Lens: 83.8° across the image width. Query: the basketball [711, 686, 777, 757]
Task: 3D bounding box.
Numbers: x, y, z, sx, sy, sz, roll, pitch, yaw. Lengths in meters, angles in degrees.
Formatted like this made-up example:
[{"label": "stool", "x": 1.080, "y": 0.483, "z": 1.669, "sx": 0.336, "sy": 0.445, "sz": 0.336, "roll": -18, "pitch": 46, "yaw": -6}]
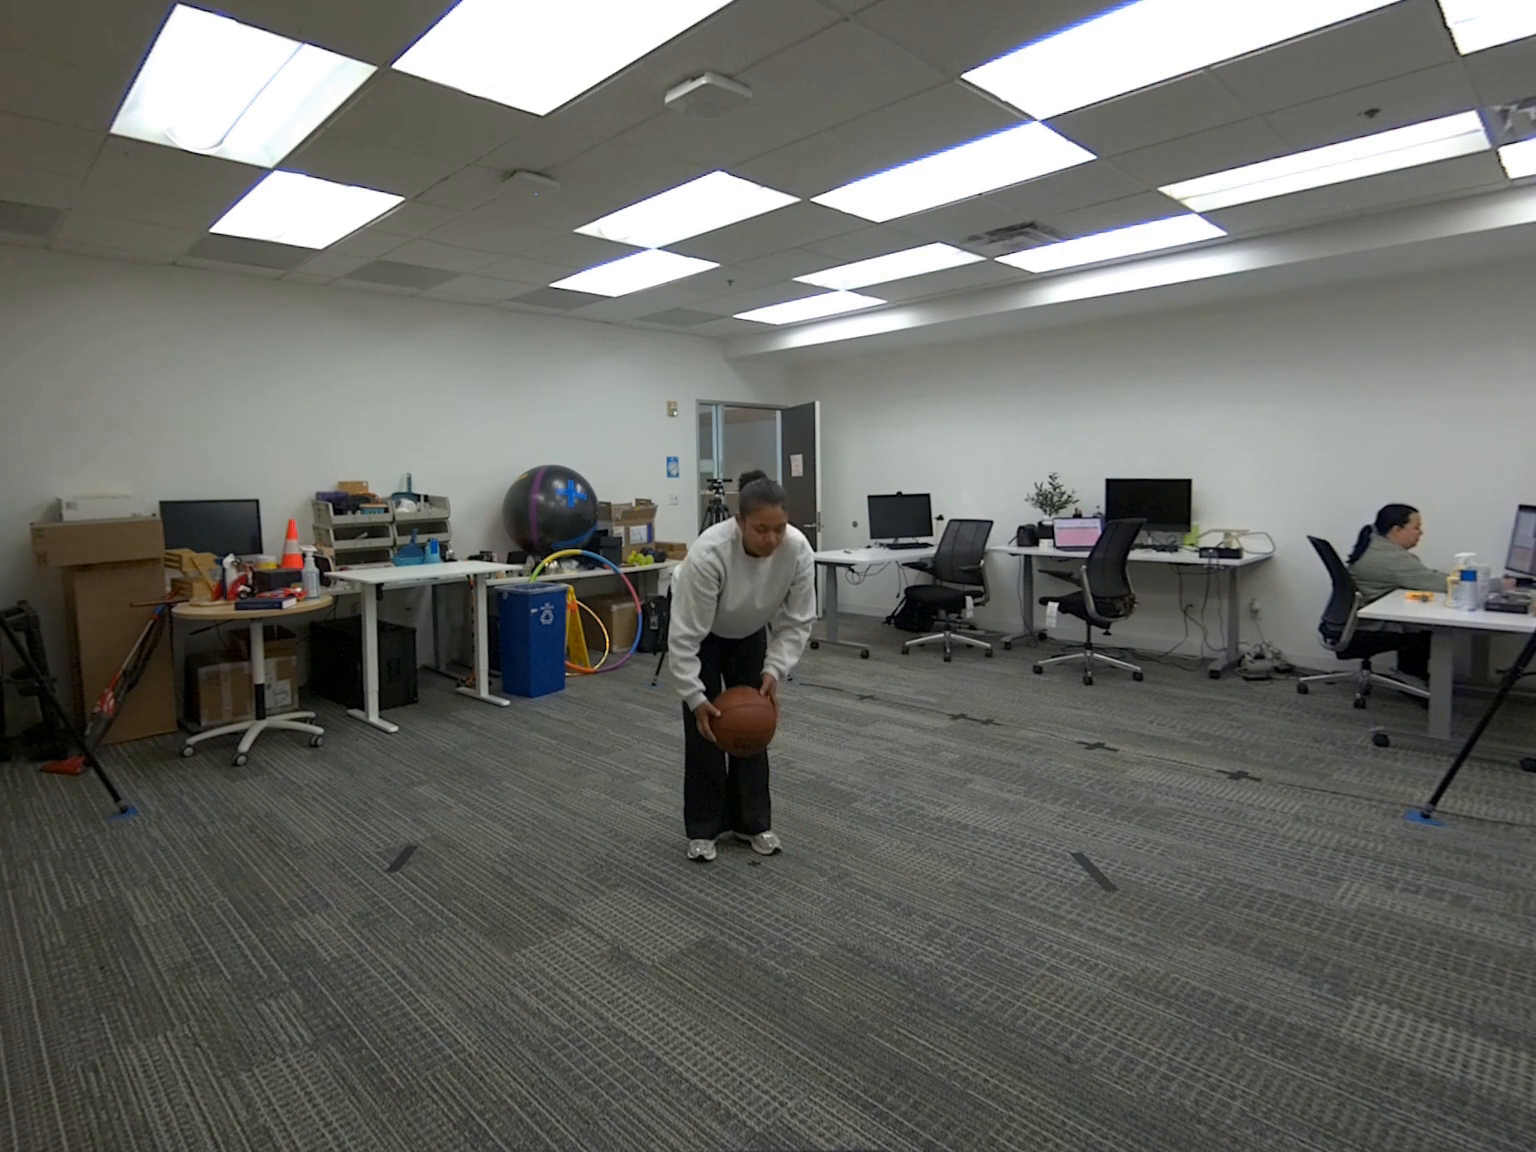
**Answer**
[{"label": "basketball", "x": -0.082, "y": 0.507, "z": 2.955, "sx": 0.236, "sy": 0.235, "sz": 0.237, "roll": -1, "pitch": 5, "yaw": -2}]
